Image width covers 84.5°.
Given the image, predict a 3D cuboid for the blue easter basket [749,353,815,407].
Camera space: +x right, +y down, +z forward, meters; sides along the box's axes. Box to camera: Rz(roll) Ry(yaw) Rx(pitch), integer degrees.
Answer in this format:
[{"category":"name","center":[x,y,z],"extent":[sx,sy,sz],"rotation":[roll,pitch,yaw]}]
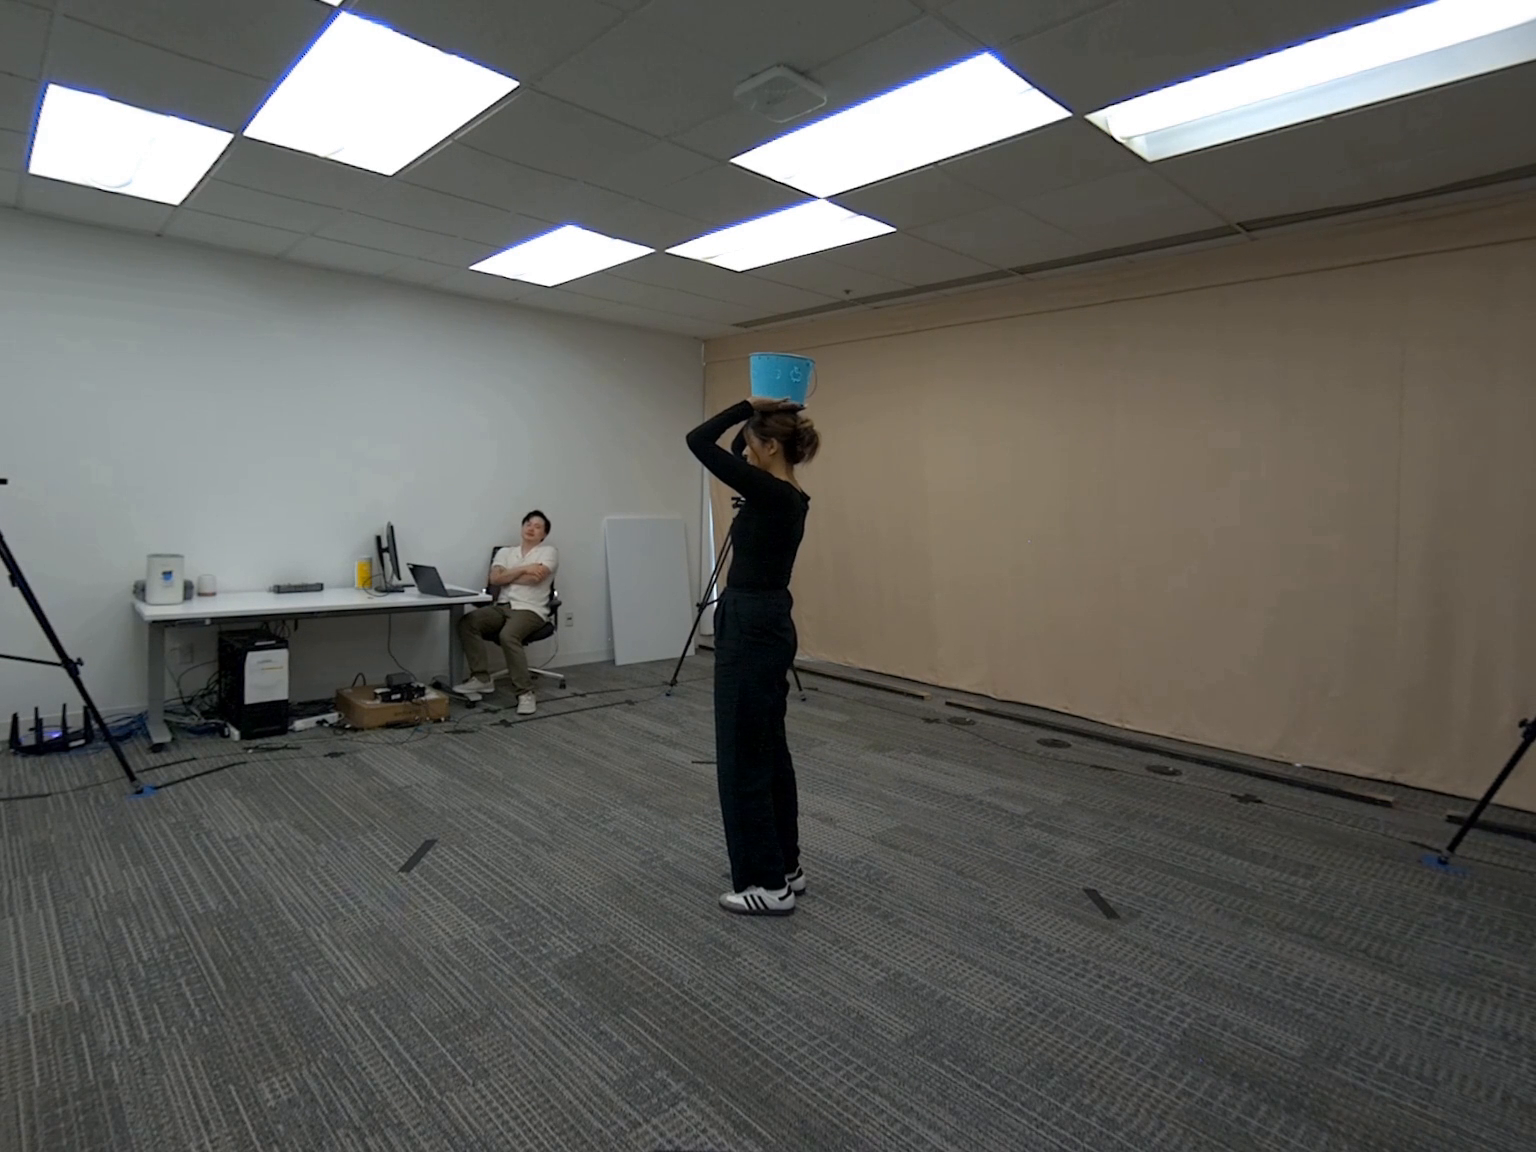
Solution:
[{"category":"blue easter basket","center":[0.045,-0.667,2.890],"extent":[0.243,0.155,0.244],"rotation":[6,5,-2]}]
